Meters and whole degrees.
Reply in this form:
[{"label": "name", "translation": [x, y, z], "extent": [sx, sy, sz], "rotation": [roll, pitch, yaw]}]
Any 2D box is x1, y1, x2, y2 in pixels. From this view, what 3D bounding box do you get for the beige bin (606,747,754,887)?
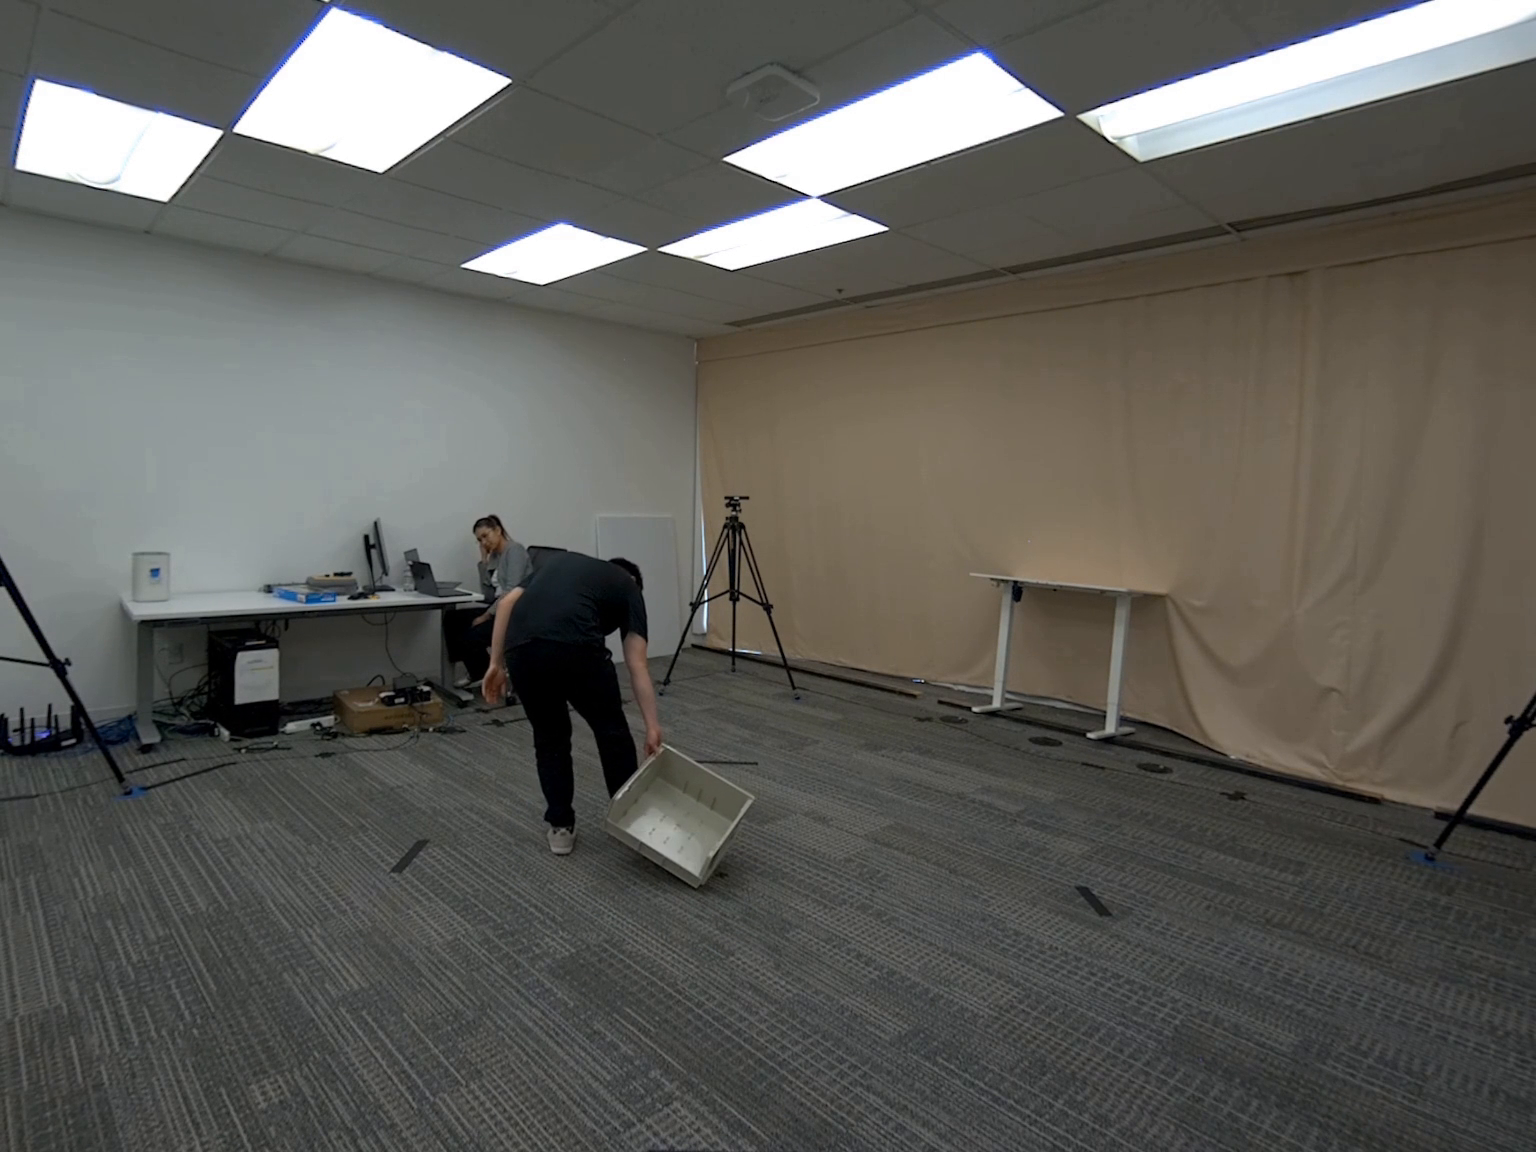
[{"label": "beige bin", "translation": [-0.336, 0.903, 3.140], "extent": [0.430, 0.186, 0.375], "rotation": [25, 31, 17]}]
